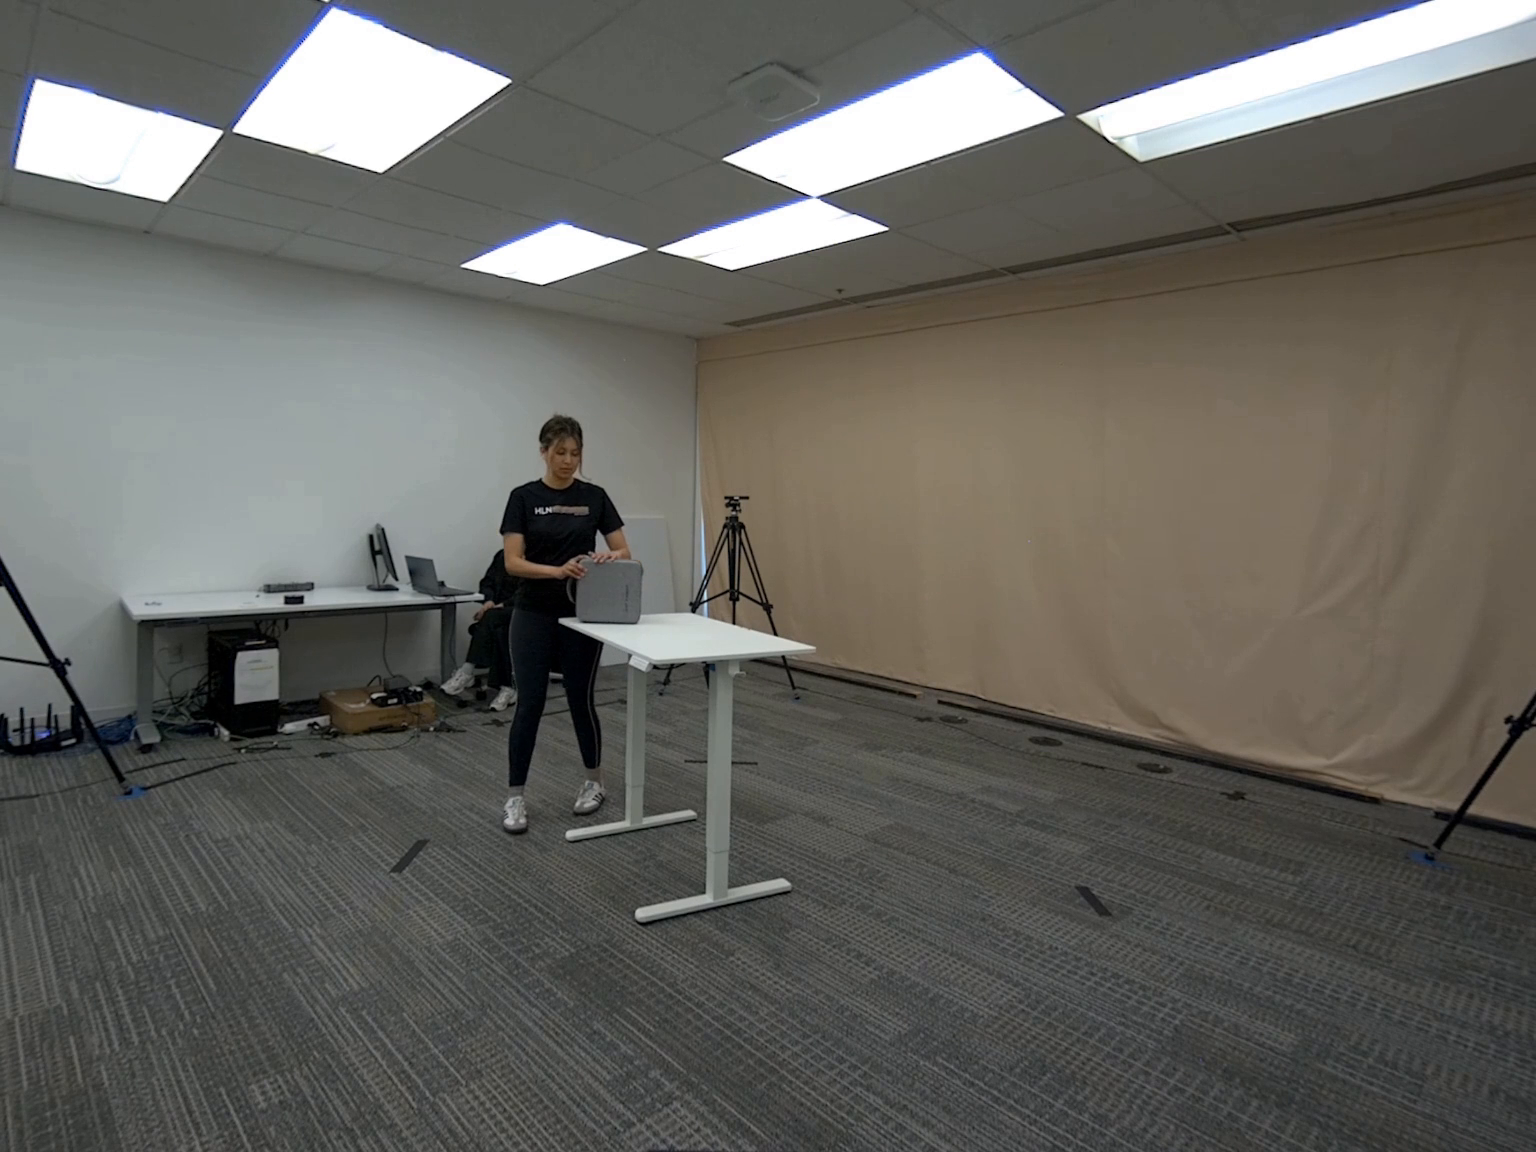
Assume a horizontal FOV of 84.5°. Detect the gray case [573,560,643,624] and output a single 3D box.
[{"bbox_3d":[-0.644,0.063,3.363,0.260,0.256,0.105,1,3,-3],"label":"gray case"}]
